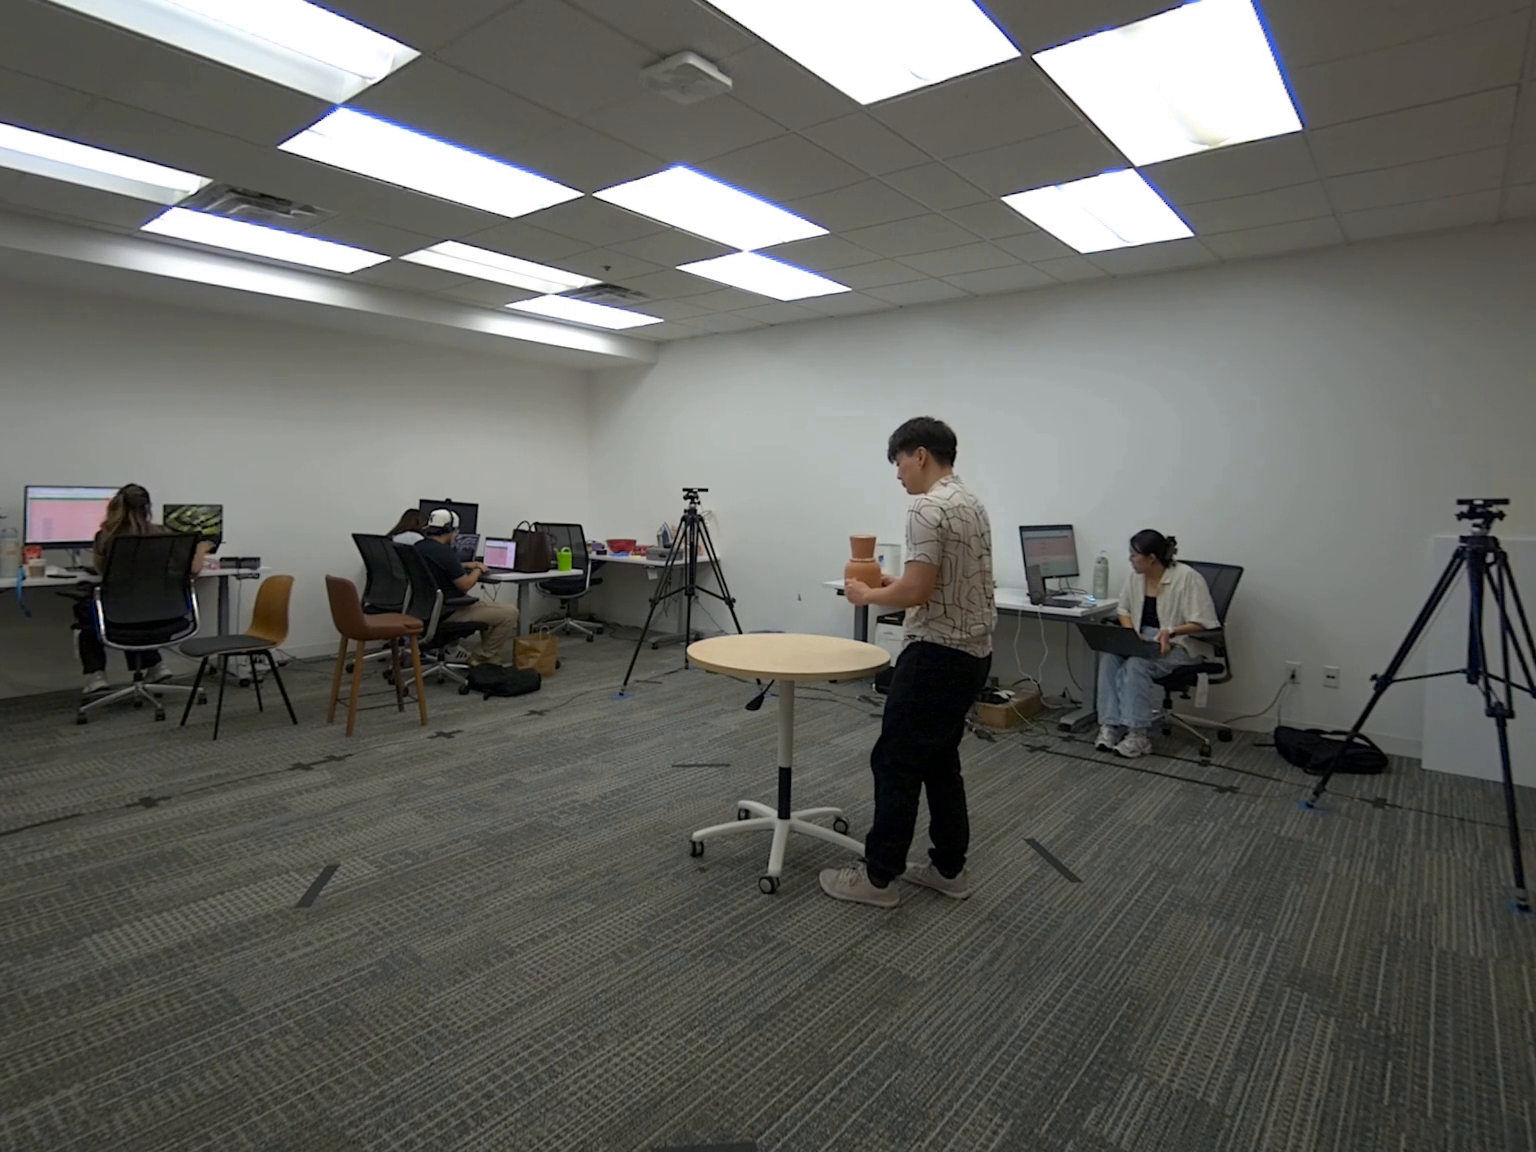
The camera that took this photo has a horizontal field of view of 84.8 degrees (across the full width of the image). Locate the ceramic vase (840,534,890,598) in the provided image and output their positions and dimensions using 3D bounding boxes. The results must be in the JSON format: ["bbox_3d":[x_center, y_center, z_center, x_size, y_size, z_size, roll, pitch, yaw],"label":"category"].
[{"bbox_3d":[0.353,-0.035,3.099,0.134,0.219,0.160,3,6,-5],"label":"ceramic vase"}]
